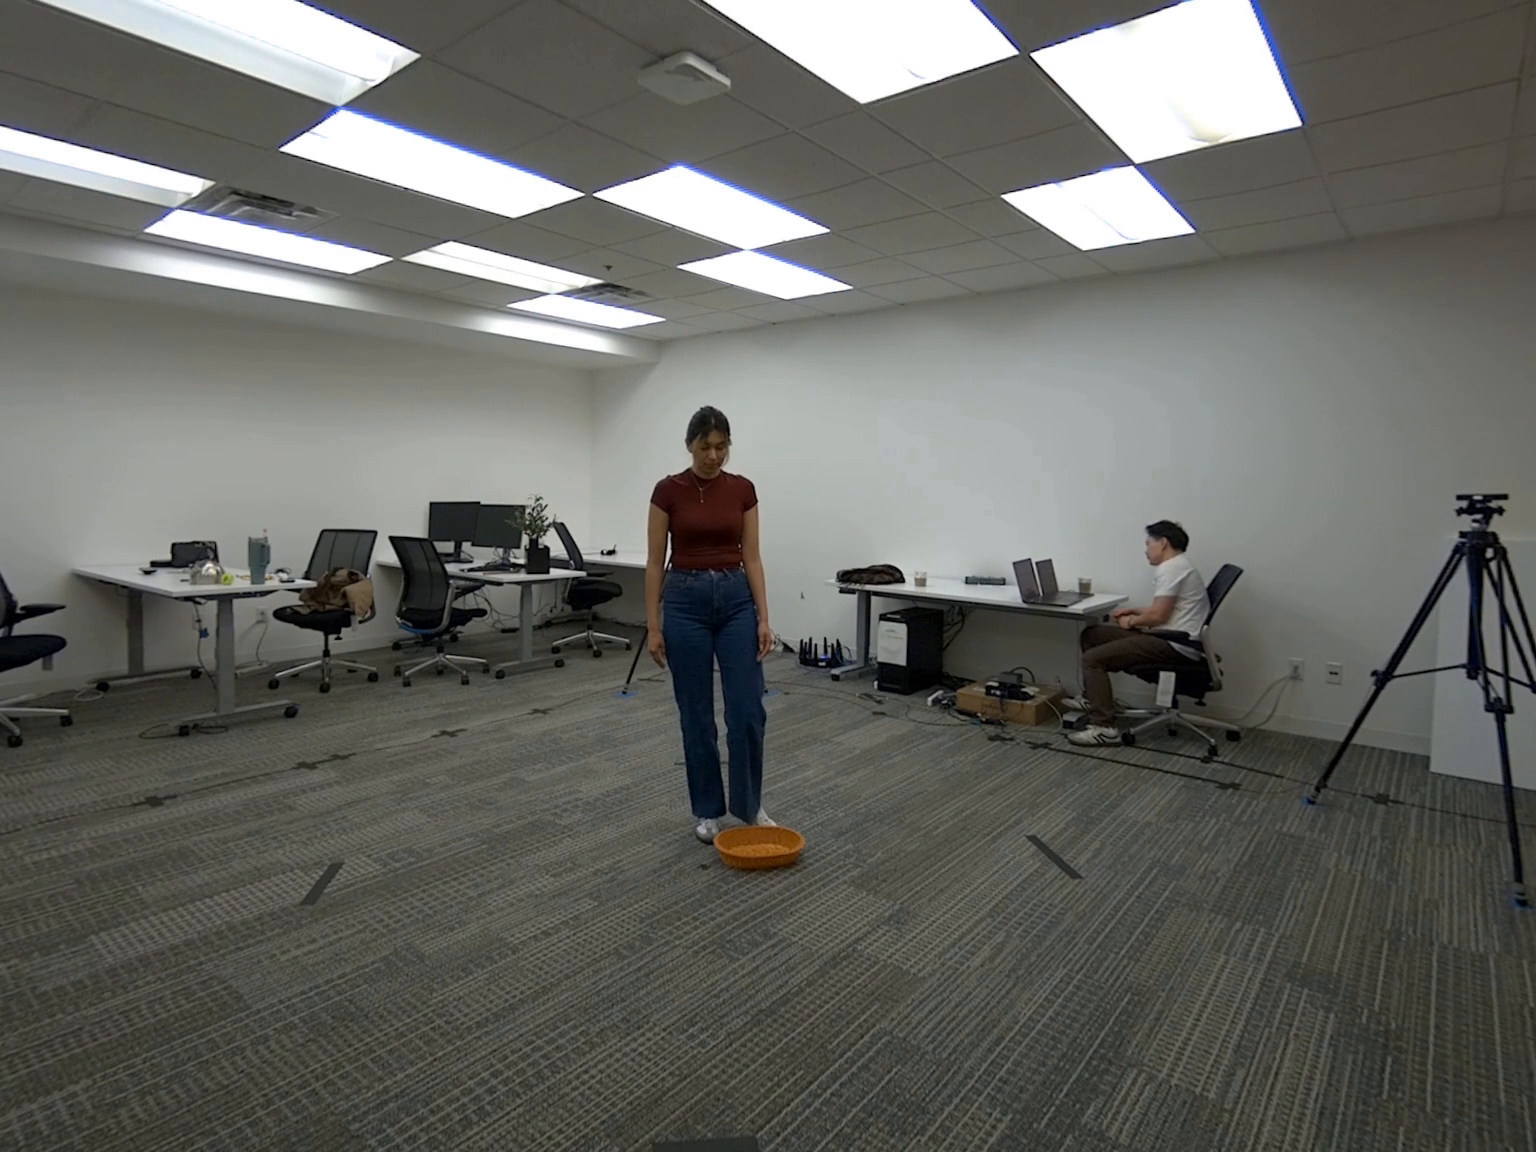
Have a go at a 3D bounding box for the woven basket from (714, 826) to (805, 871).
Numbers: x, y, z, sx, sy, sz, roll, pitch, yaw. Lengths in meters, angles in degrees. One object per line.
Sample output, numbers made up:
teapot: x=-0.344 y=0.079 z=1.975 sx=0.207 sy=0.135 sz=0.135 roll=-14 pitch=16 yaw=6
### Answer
woven basket: x=-0.043 y=1.018 z=3.195 sx=0.346 sy=0.073 sz=0.257 roll=0 pitch=6 yaw=-13
